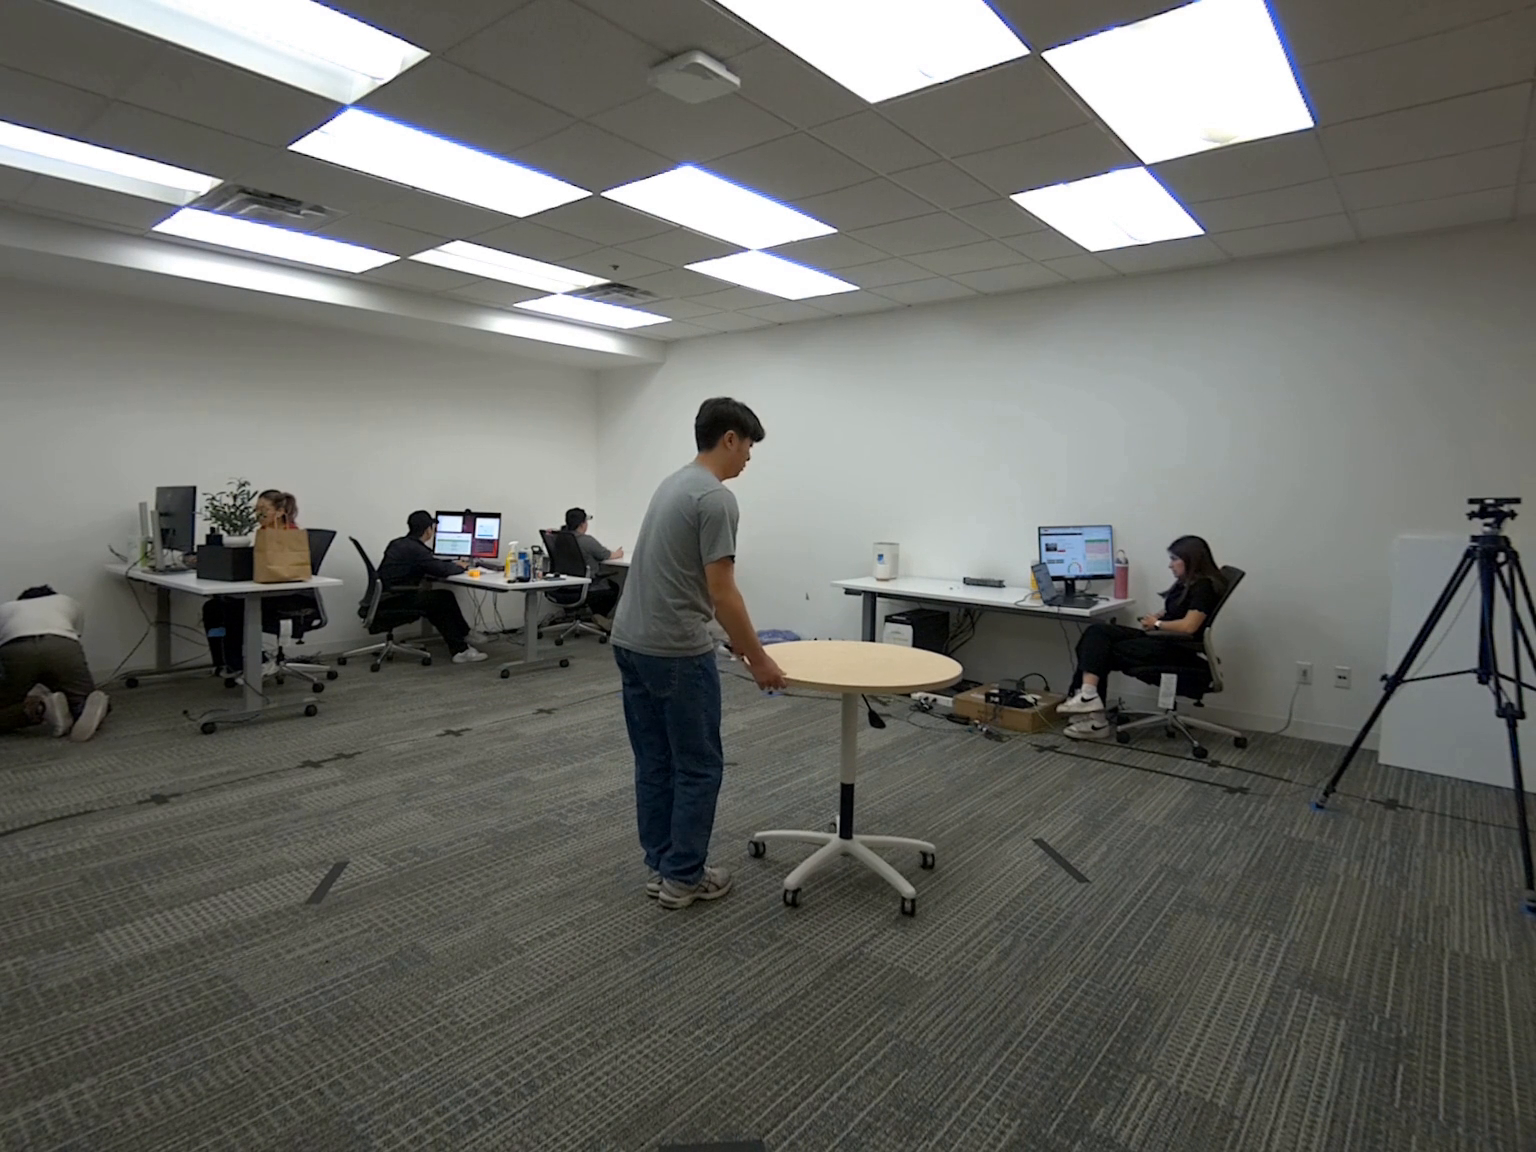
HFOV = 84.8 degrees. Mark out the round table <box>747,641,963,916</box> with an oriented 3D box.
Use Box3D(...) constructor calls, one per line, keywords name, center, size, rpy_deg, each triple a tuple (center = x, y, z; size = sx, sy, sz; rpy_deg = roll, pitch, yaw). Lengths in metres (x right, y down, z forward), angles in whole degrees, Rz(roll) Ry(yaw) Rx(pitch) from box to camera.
Box3D(name="round table", center=(0.277, 0.694, 3.059), size=(0.763, 0.791, 0.768), rpy_deg=(1, 5, -2))
